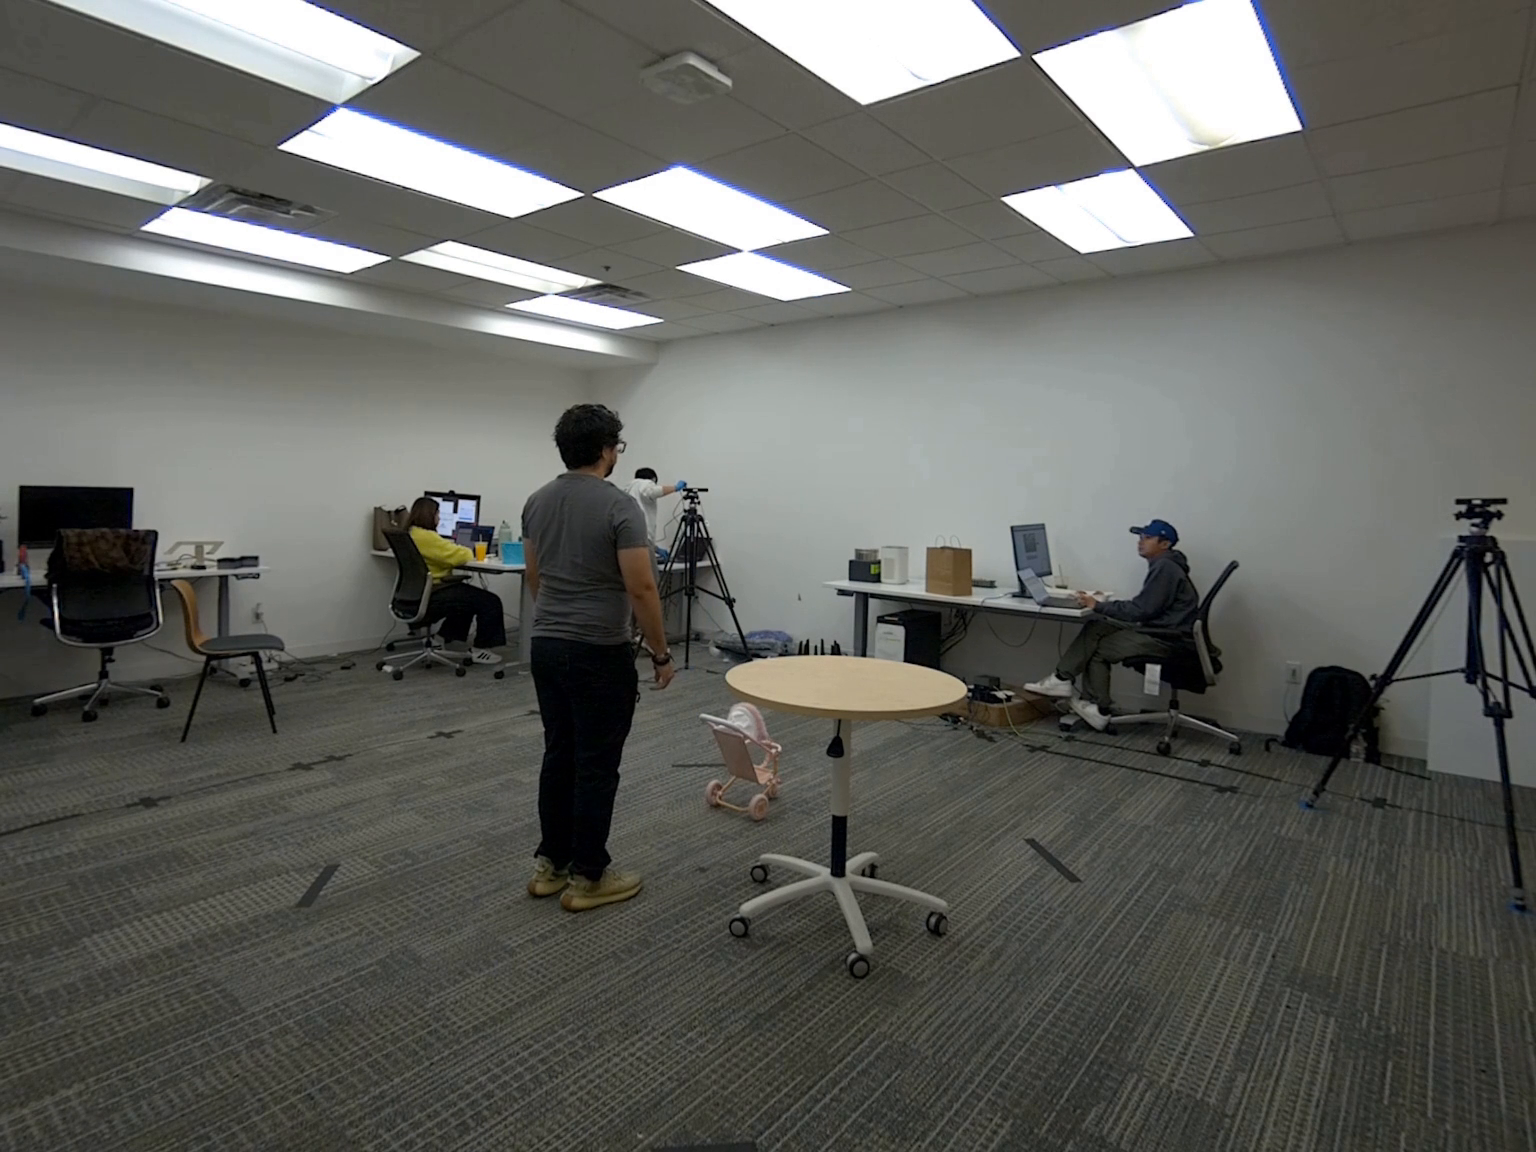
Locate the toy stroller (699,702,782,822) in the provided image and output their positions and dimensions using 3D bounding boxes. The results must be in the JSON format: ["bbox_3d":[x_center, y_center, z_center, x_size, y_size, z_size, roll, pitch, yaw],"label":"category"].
[{"bbox_3d":[-0.102,0.786,3.707,0.291,0.527,0.335,4,20,44],"label":"toy stroller"}]
